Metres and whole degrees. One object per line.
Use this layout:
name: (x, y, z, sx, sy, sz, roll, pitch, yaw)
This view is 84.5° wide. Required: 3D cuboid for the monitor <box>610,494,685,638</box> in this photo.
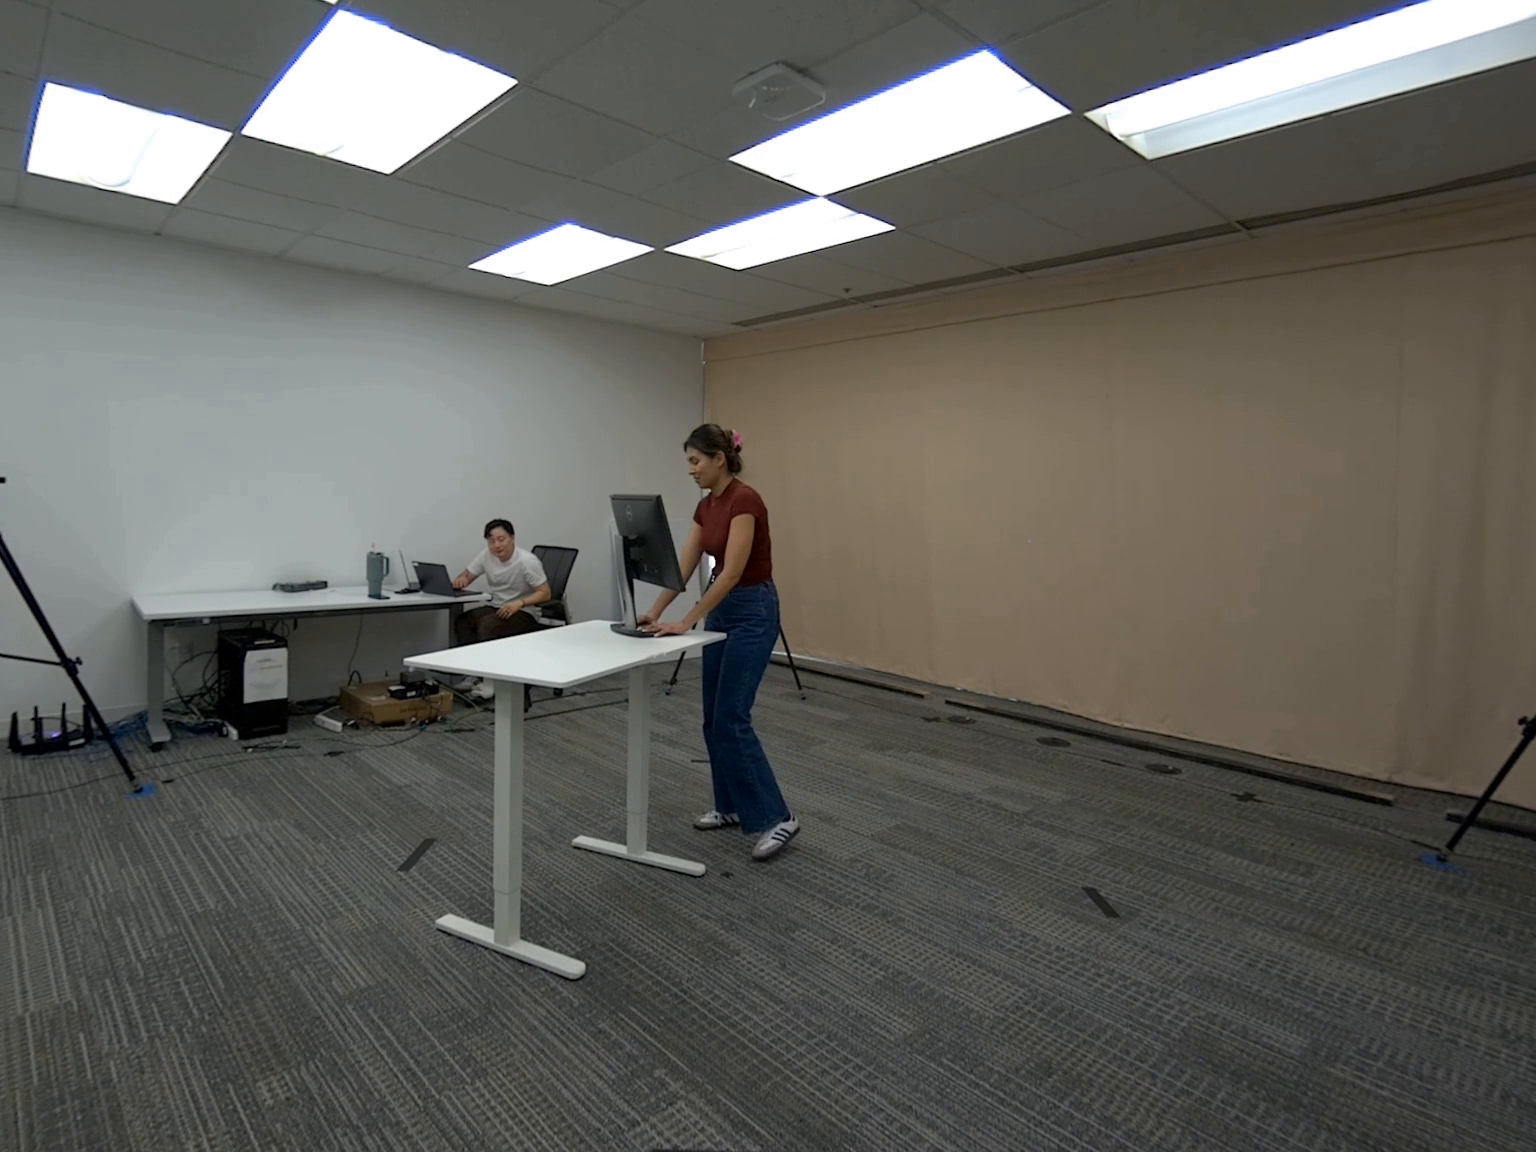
monitor: (-0.487, -0.043, 3.137, 0.184, 0.520, 0.551, -4, 6, -28)
